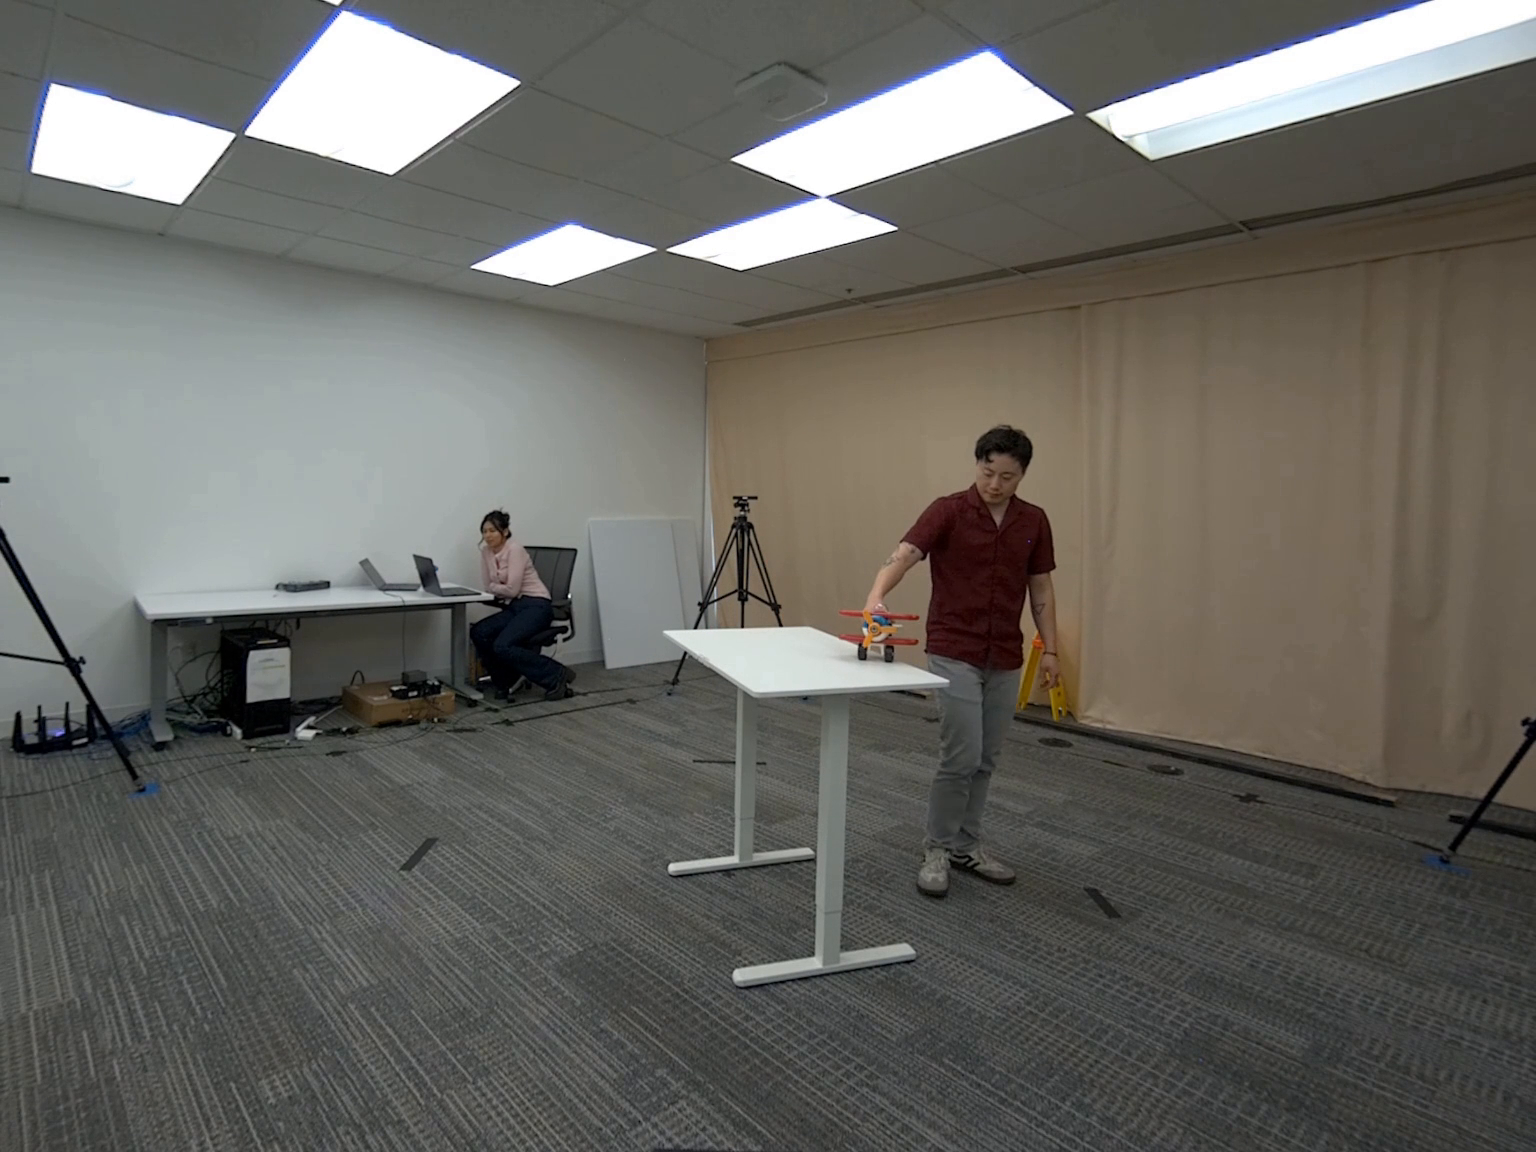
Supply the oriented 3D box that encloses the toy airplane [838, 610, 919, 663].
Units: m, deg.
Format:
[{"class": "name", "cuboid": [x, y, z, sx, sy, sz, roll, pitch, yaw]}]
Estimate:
[{"class": "toy airplane", "cuboid": [0.337, 0.176, 2.756, 0.248, 0.155, 0.265, -5, 16, -15]}]
